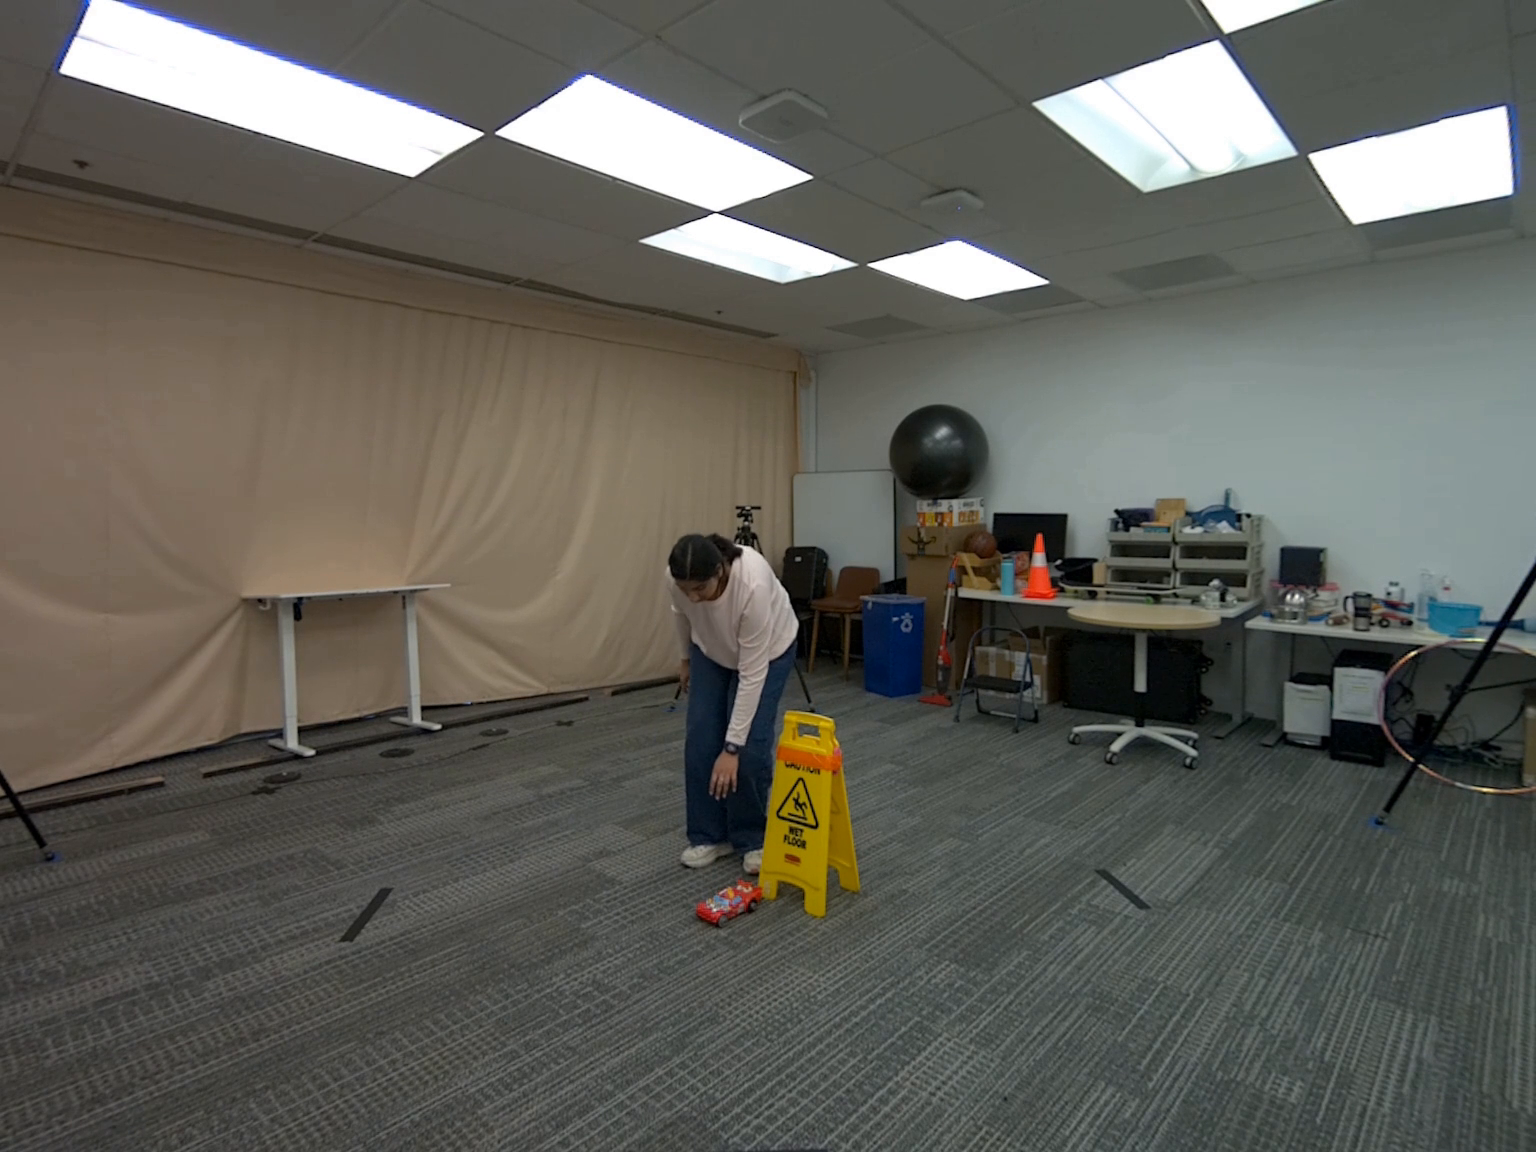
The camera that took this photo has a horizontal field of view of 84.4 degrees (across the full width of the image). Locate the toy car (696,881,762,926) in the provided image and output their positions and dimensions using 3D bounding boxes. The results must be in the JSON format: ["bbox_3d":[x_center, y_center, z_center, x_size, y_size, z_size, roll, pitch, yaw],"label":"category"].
[{"bbox_3d":[-0.126,1.117,2.889,0.134,0.082,0.248,4,17,45],"label":"toy car"}]
